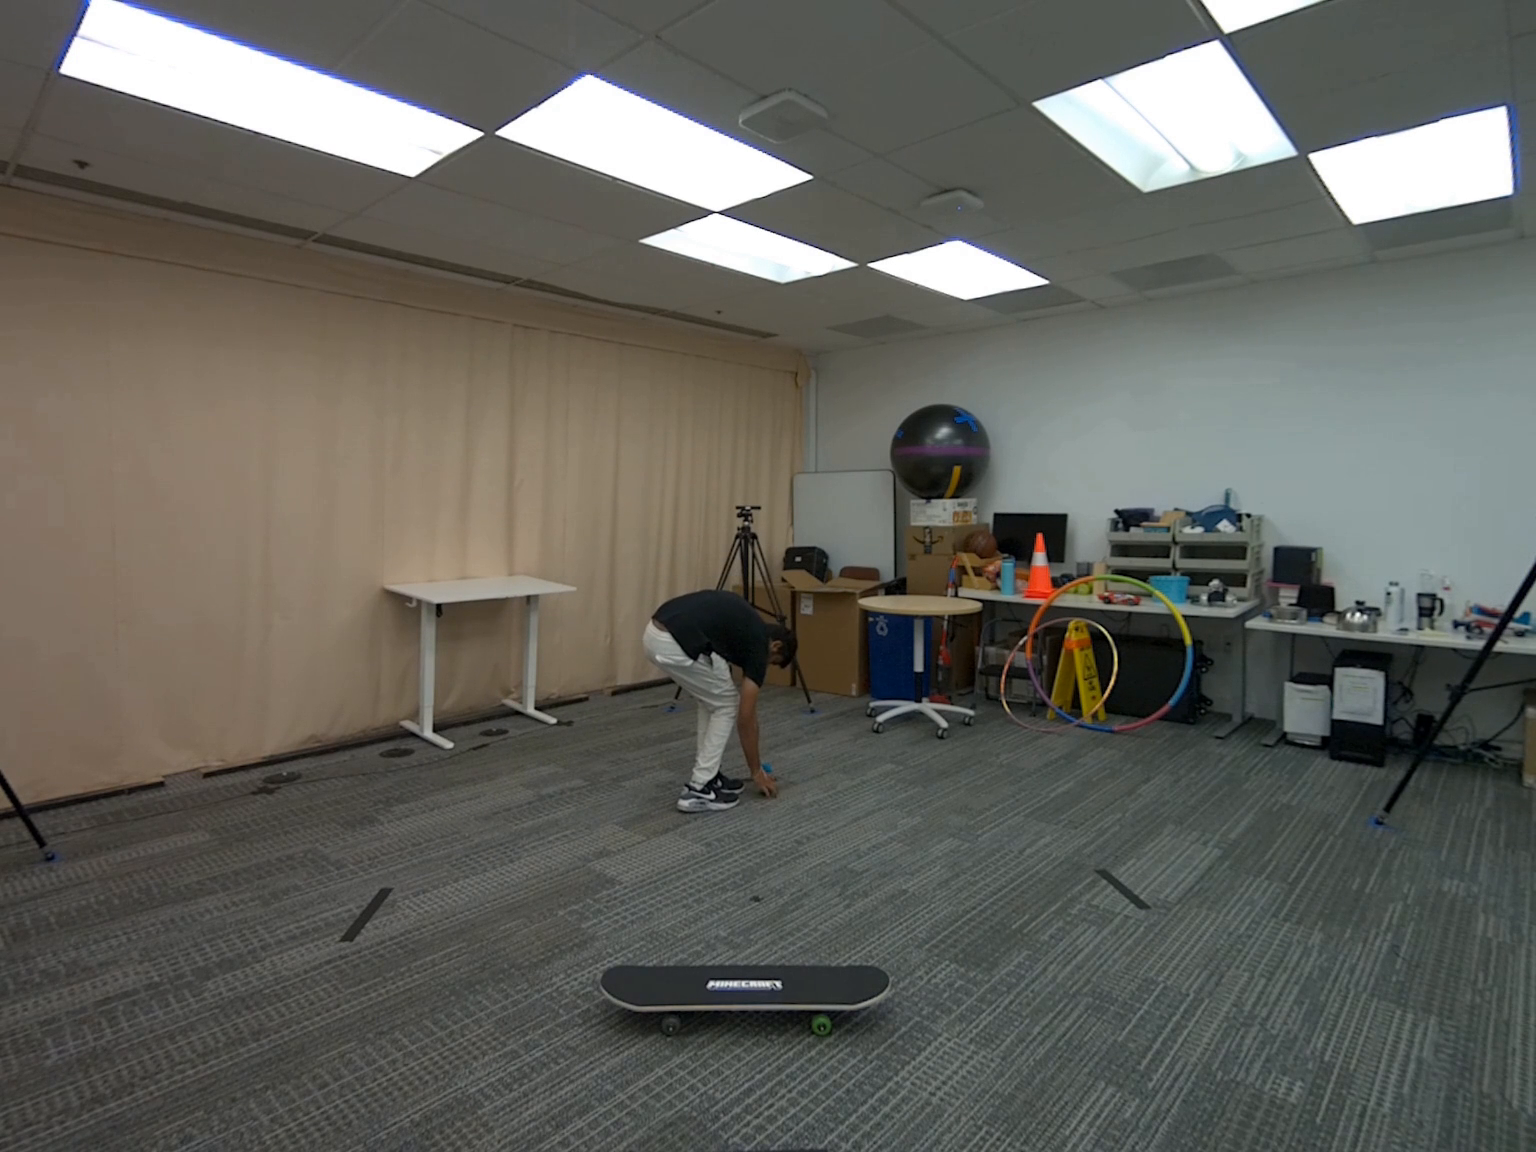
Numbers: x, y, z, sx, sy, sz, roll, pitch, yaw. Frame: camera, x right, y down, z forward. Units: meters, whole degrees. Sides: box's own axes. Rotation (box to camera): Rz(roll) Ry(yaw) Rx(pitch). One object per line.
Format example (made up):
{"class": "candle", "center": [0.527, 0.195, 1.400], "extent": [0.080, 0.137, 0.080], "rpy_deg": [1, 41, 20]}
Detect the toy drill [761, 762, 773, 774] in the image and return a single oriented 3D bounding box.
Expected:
{"class": "toy drill", "center": [-0.024, 0.982, 4.122], "extent": [0.060, 0.146, 0.172], "rpy_deg": [1, -6, -18]}
